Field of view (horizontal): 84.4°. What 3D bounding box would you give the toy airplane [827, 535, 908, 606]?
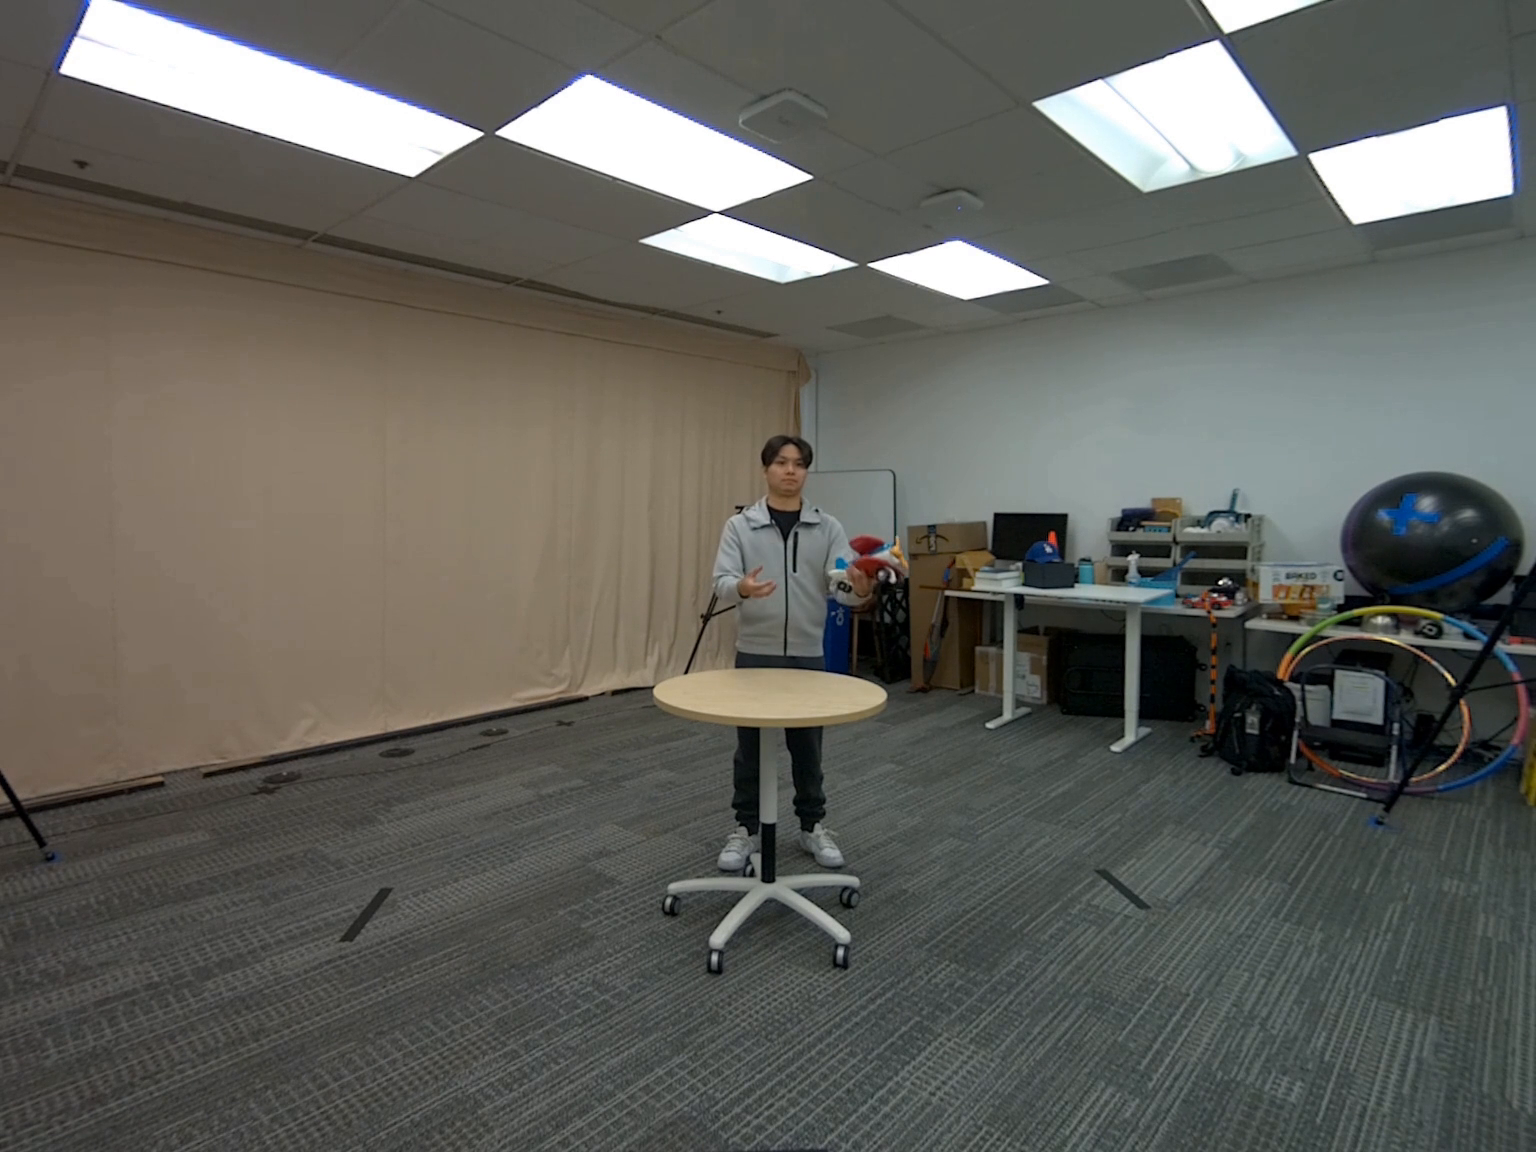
[{"bbox_3d":[0.330,-0.038,2.883,0.263,0.158,0.245,2,-16,13],"label":"toy airplane"}]
